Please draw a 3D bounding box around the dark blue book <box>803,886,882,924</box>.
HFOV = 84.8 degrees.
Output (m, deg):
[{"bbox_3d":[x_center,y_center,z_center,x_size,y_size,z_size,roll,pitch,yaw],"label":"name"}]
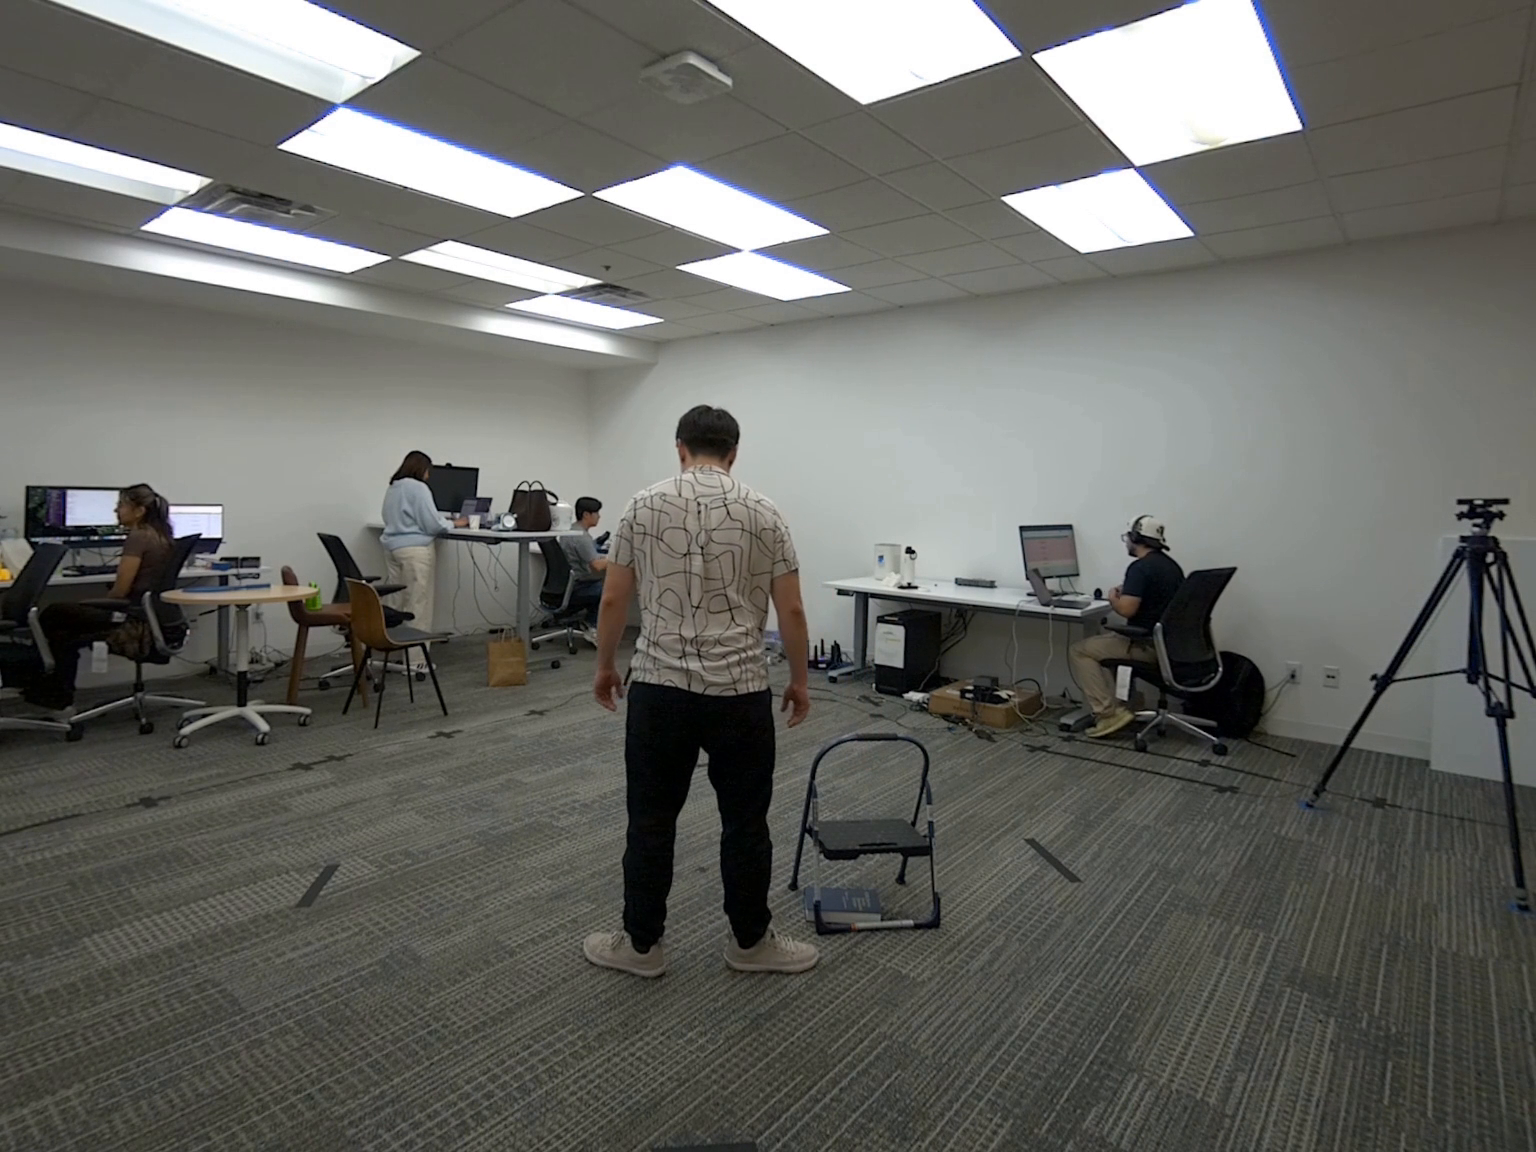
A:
[{"bbox_3d":[0.250,1.095,2.823,0.246,0.045,0.164,1,7,2],"label":"dark blue book"}]
